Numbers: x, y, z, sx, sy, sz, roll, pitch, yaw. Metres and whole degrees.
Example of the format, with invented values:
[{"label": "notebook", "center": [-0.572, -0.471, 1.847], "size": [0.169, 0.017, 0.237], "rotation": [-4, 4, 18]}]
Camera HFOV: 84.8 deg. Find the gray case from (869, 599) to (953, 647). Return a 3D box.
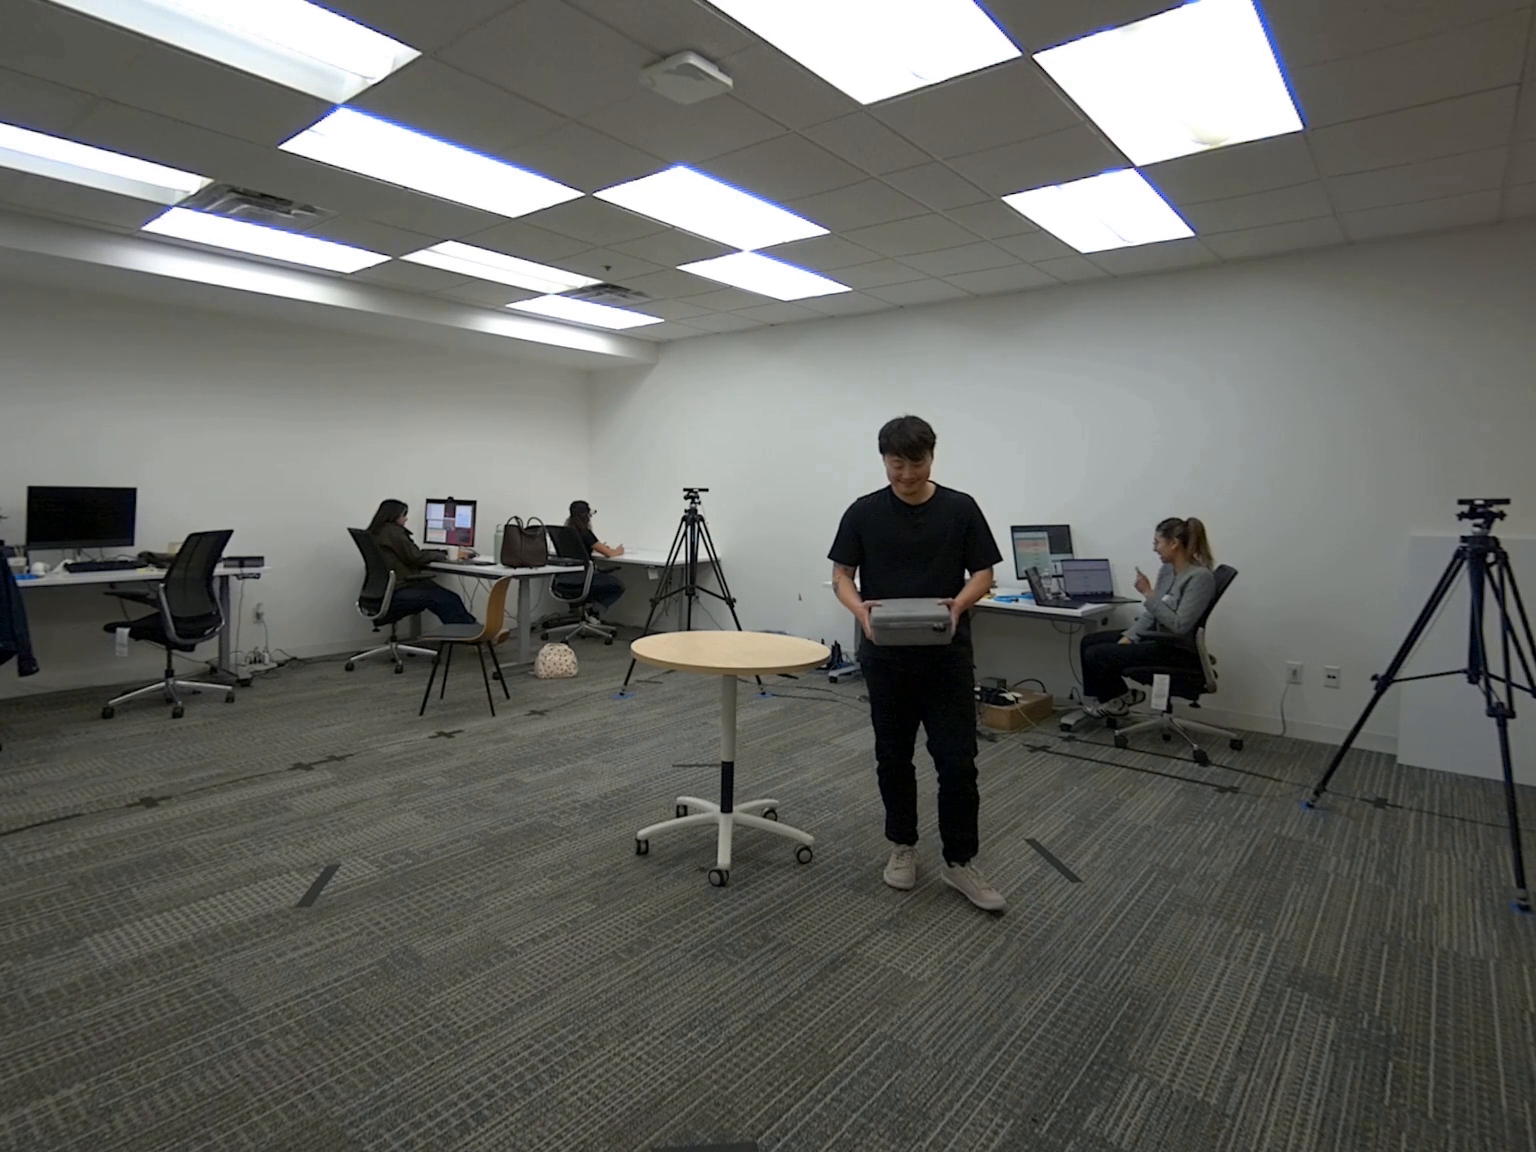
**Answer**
[{"label": "gray case", "center": [0.477, 0.147, 2.796], "size": [0.260, 0.103, 0.260], "rotation": [-1, 10, 9]}]
